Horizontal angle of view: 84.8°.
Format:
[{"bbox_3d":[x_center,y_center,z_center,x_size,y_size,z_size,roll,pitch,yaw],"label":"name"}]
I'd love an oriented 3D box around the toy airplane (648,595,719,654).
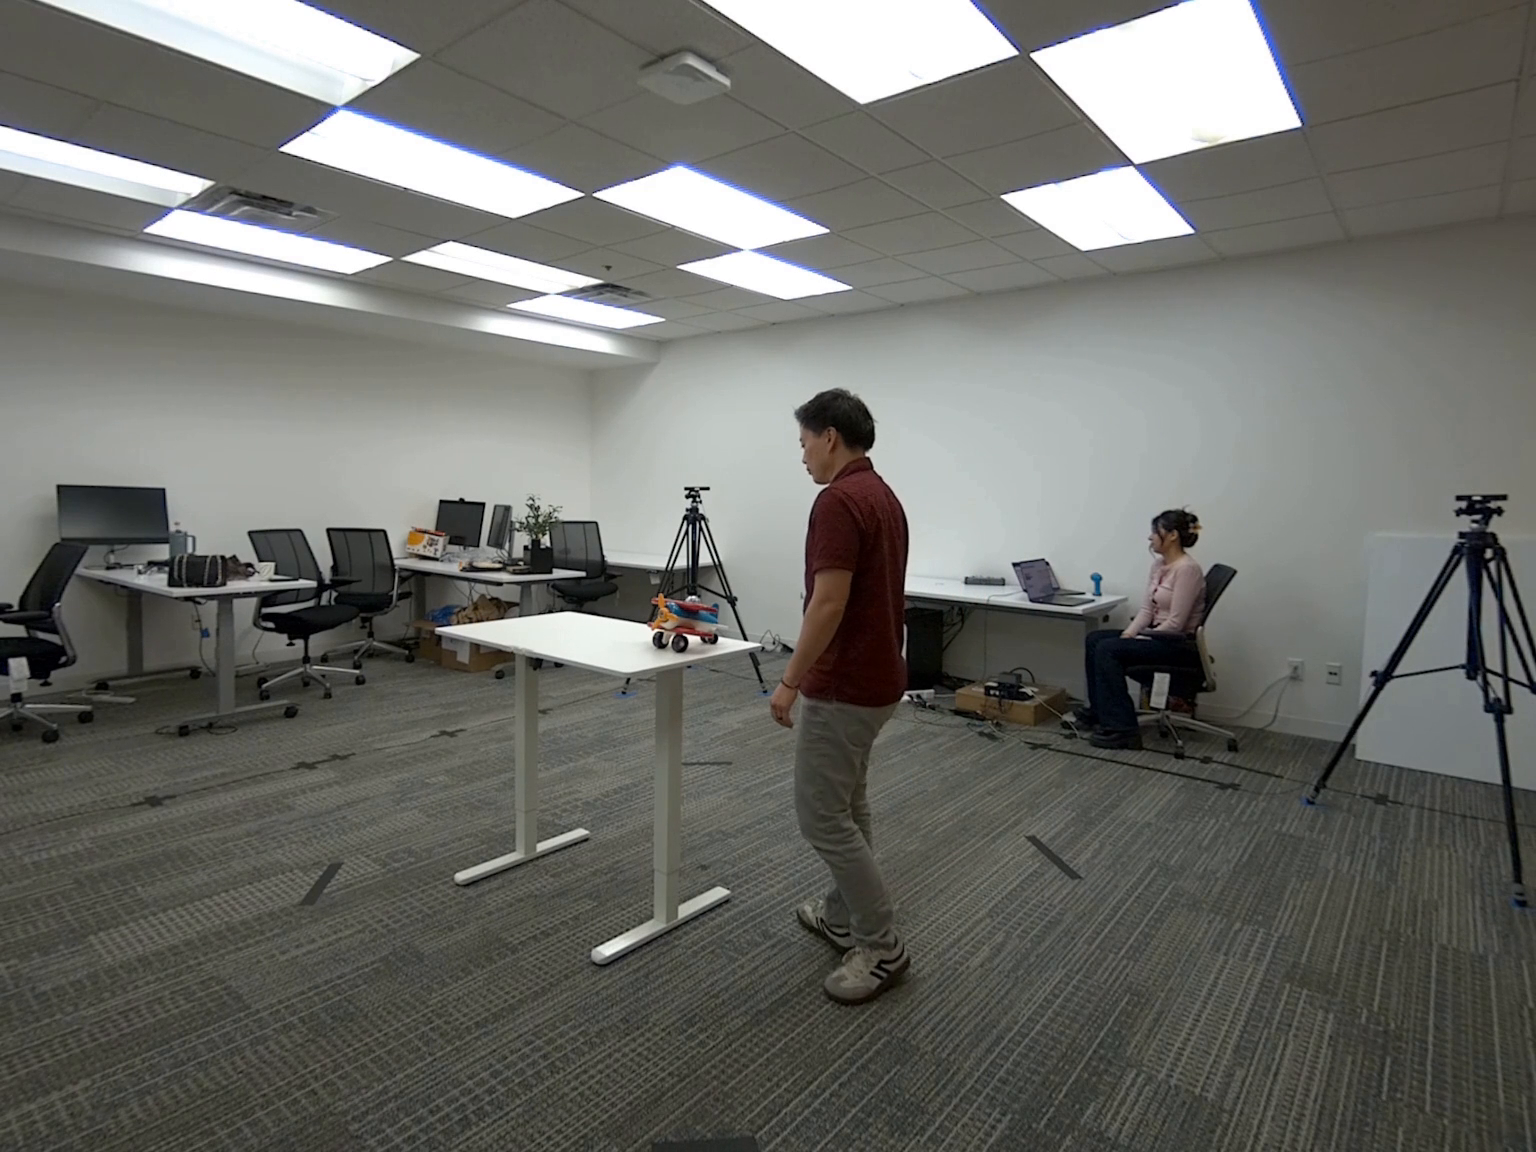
[{"bbox_3d":[-0.278,0.142,2.729,0.255,0.155,0.257,3,8,13],"label":"toy airplane"}]
